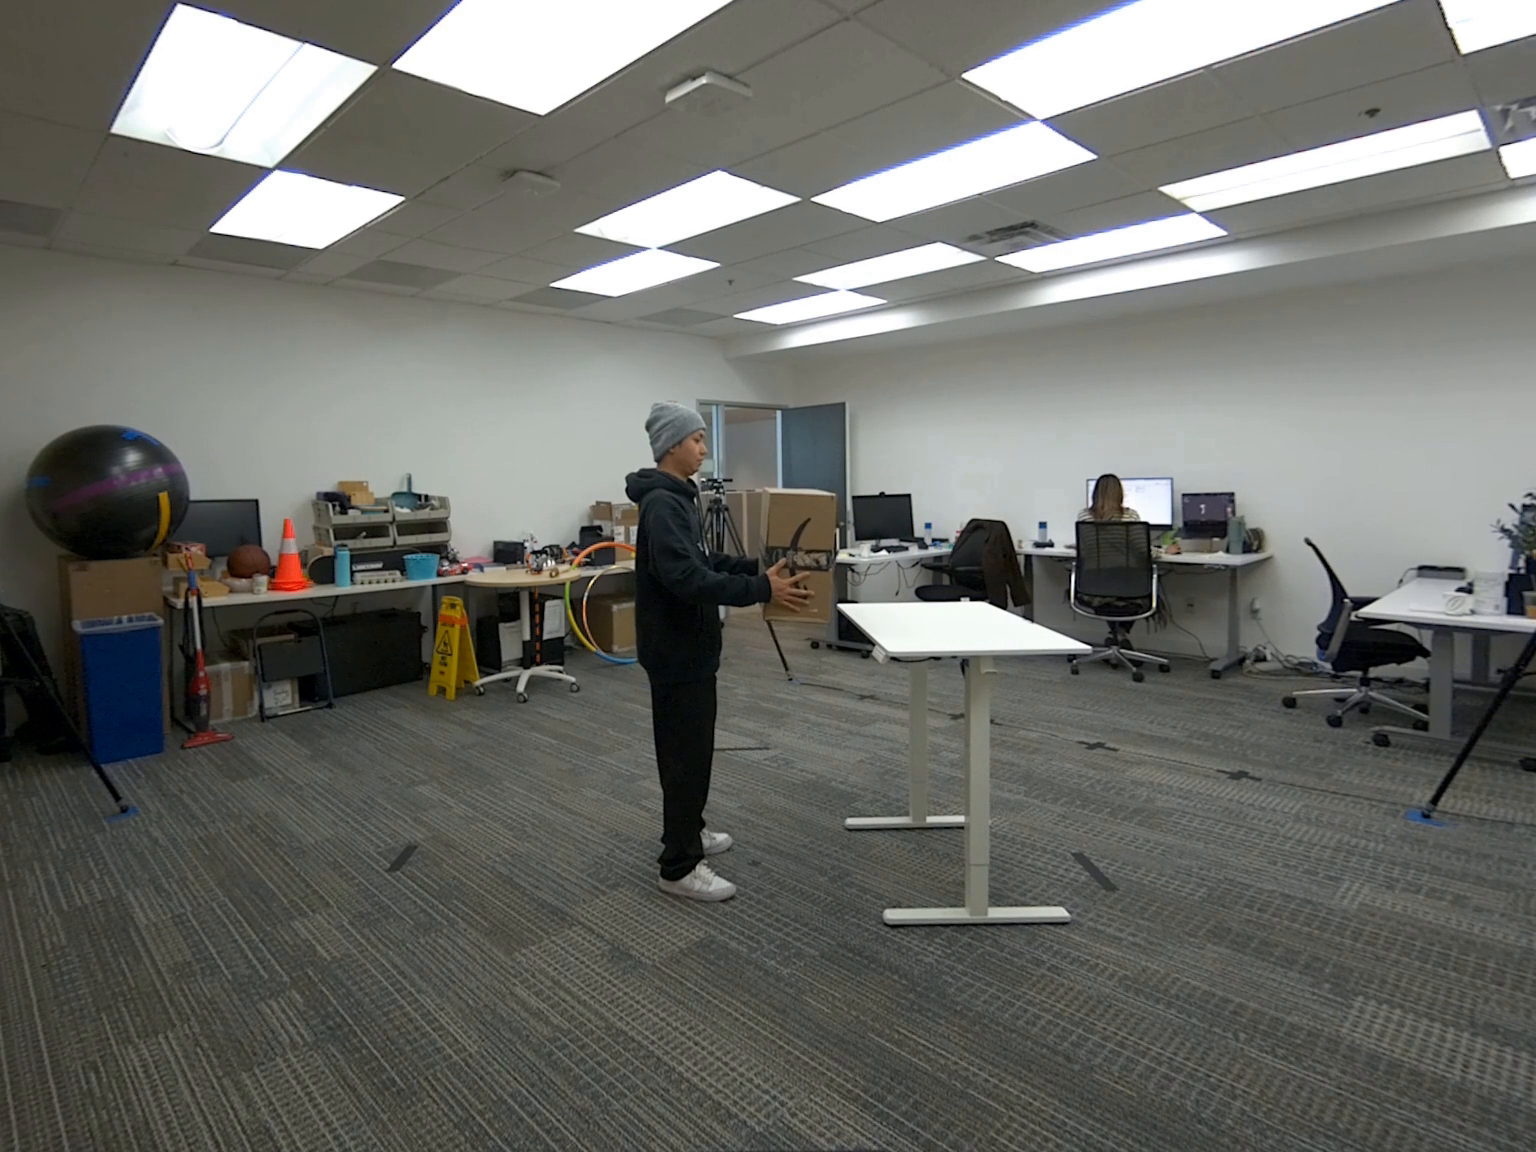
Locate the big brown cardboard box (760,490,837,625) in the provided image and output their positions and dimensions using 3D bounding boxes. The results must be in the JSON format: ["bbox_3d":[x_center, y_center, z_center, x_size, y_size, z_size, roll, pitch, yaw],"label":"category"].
[{"bbox_3d":[0.090,-0.089,2.993,0.233,0.415,0.593,2,7,-4],"label":"big brown cardboard box"}]
